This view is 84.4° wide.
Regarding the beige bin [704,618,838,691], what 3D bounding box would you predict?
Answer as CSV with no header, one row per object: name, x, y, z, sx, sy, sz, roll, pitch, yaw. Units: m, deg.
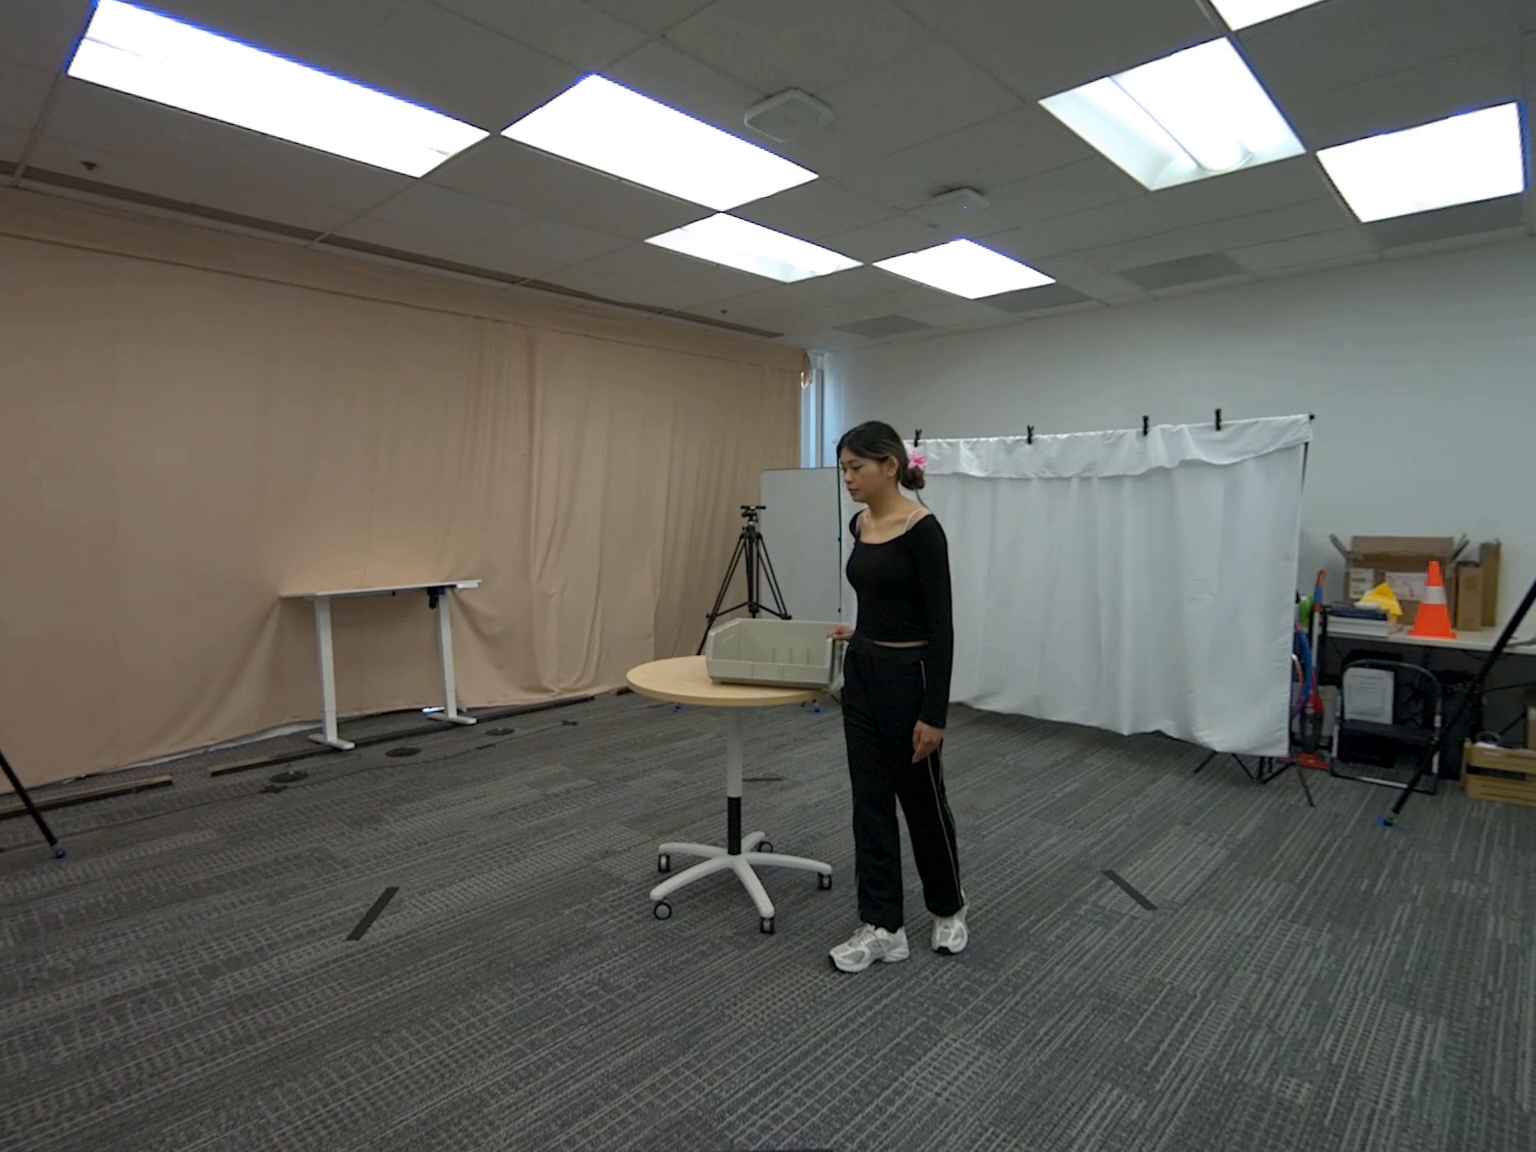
beige bin,0.045,0.266,2.907,0.430,0.189,0.371,1,3,15
